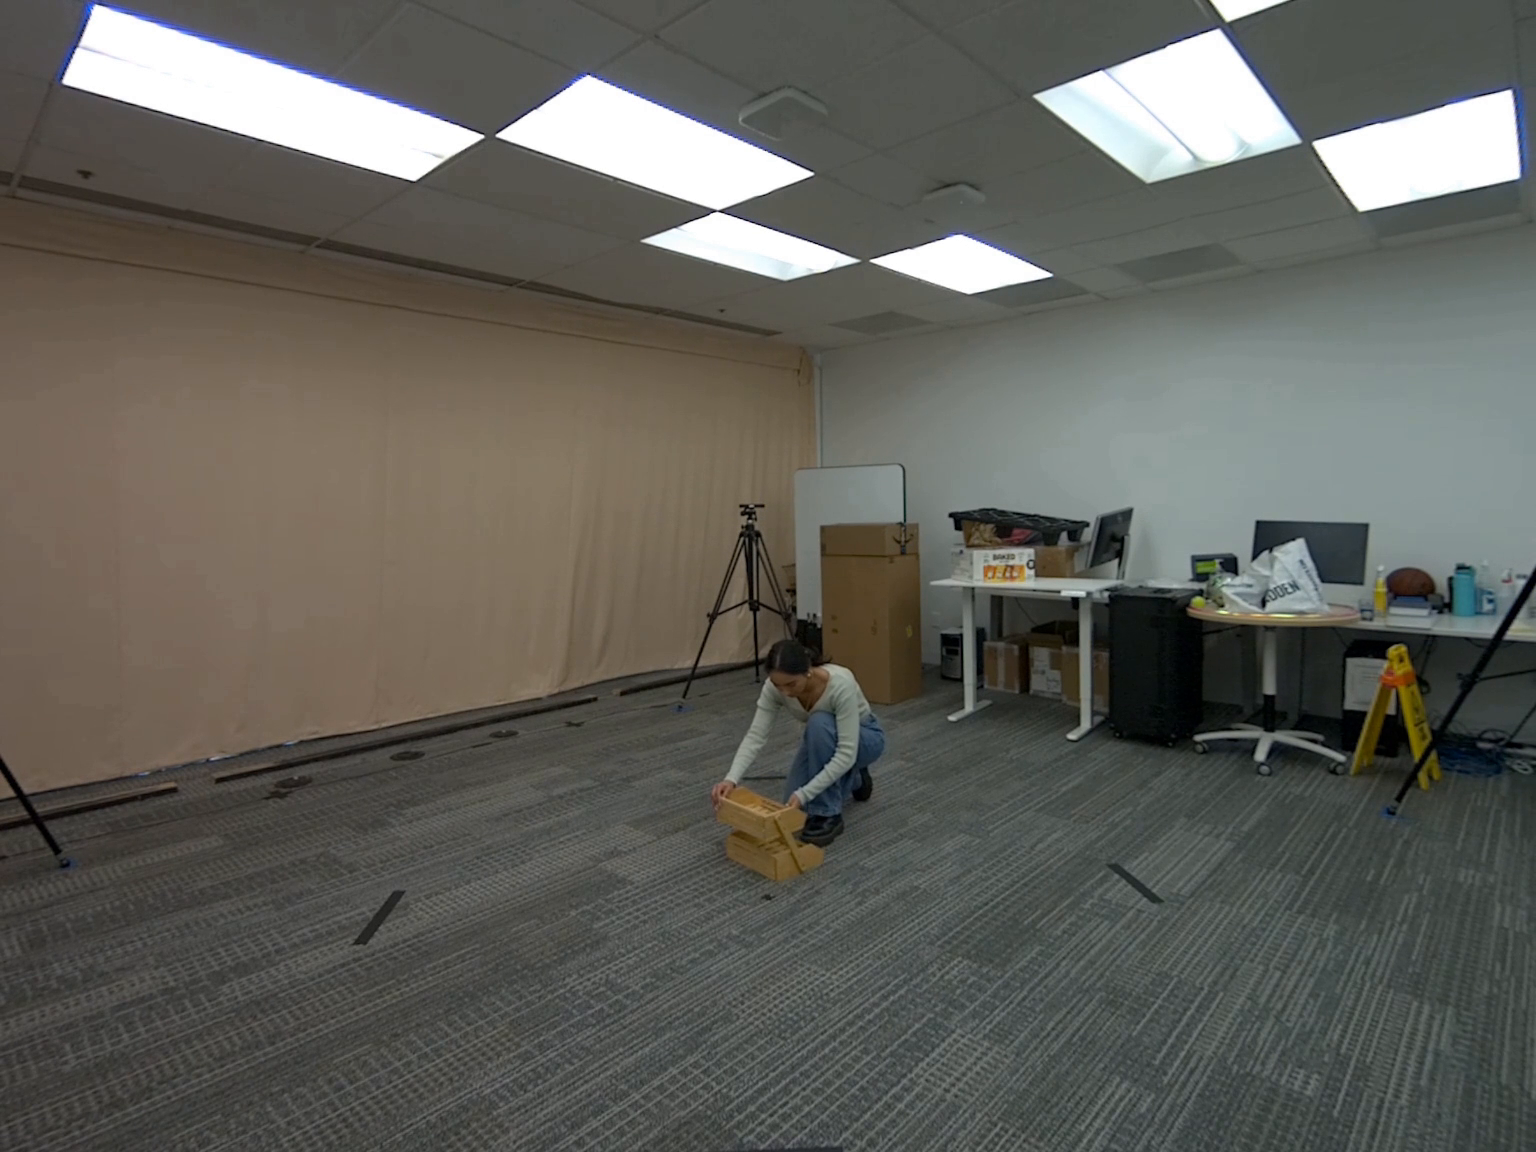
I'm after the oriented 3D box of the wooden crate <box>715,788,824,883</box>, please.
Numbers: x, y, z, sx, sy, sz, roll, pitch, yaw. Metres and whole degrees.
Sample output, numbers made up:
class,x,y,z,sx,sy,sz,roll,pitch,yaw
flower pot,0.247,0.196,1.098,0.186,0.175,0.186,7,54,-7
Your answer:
class,x,y,z,sx,sy,sz,roll,pitch,yaw
wooden crate,0.010,0.981,3.268,0.293,0.272,0.335,-5,6,-40
